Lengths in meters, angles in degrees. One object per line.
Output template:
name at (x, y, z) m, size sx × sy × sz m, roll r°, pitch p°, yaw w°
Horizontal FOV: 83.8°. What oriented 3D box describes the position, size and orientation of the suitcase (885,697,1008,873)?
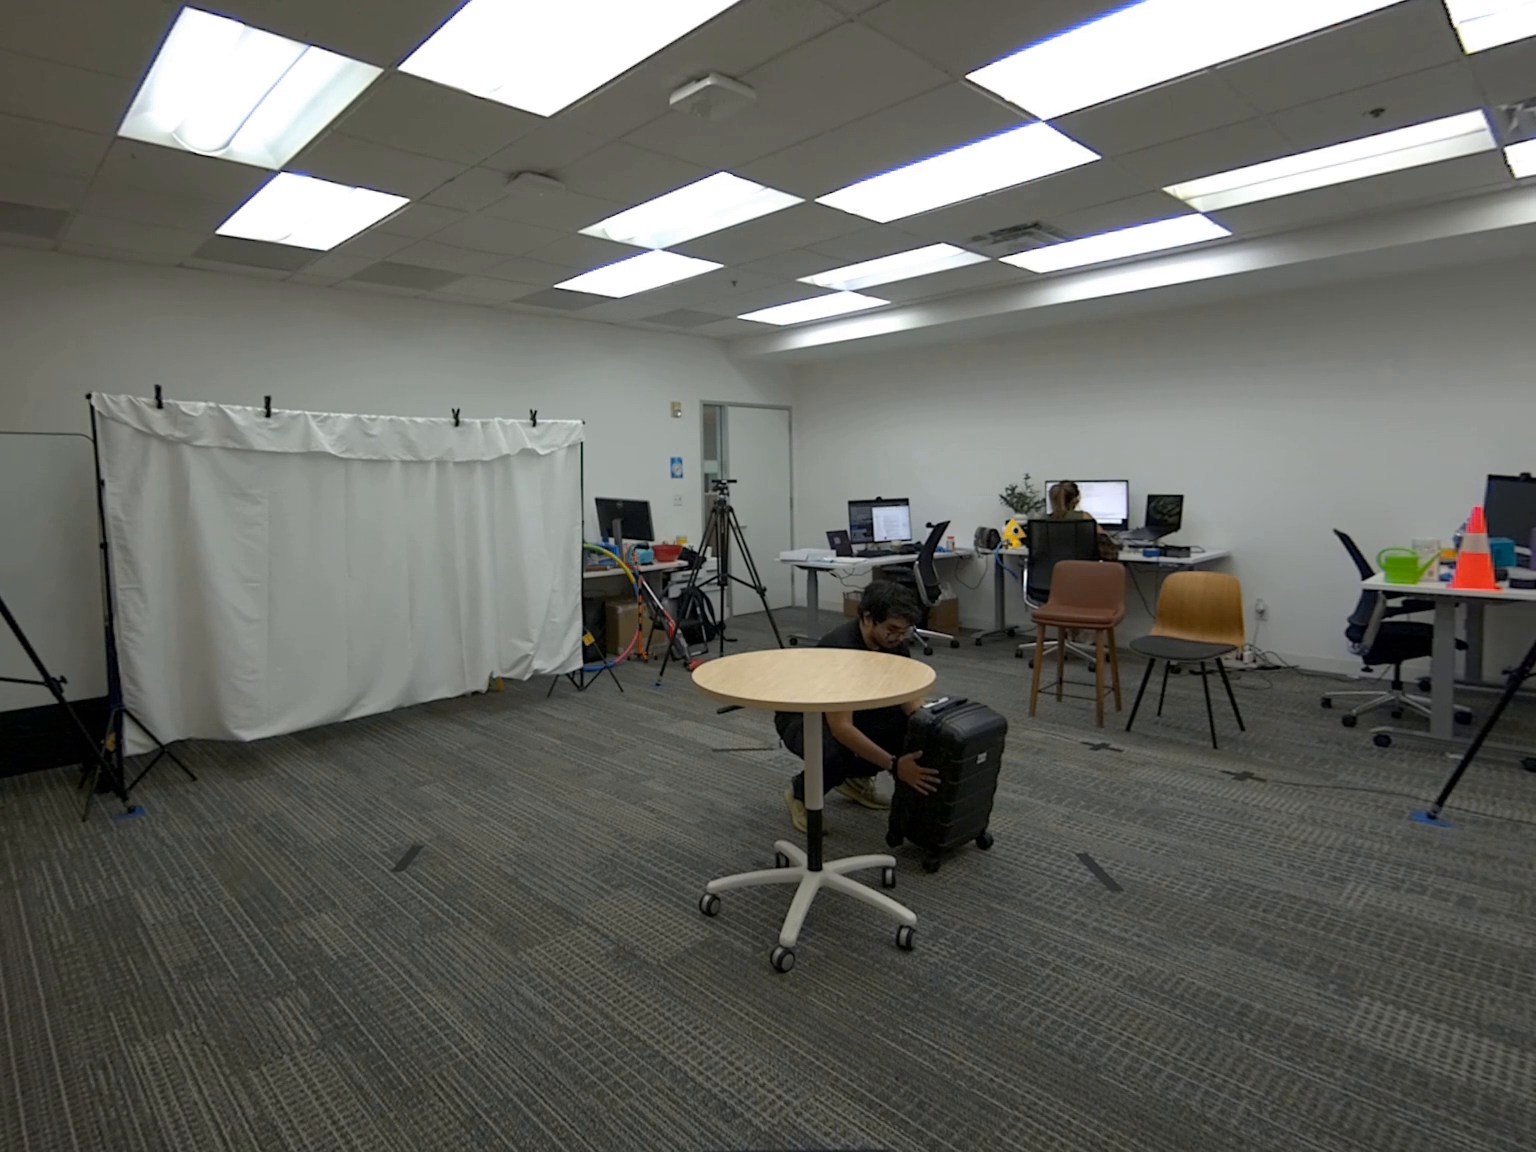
suitcase at (0.668, 0.745, 3.143) m, size 0.365 × 0.544 × 0.257 m, roll -4°, pitch 17°, yaw -42°
